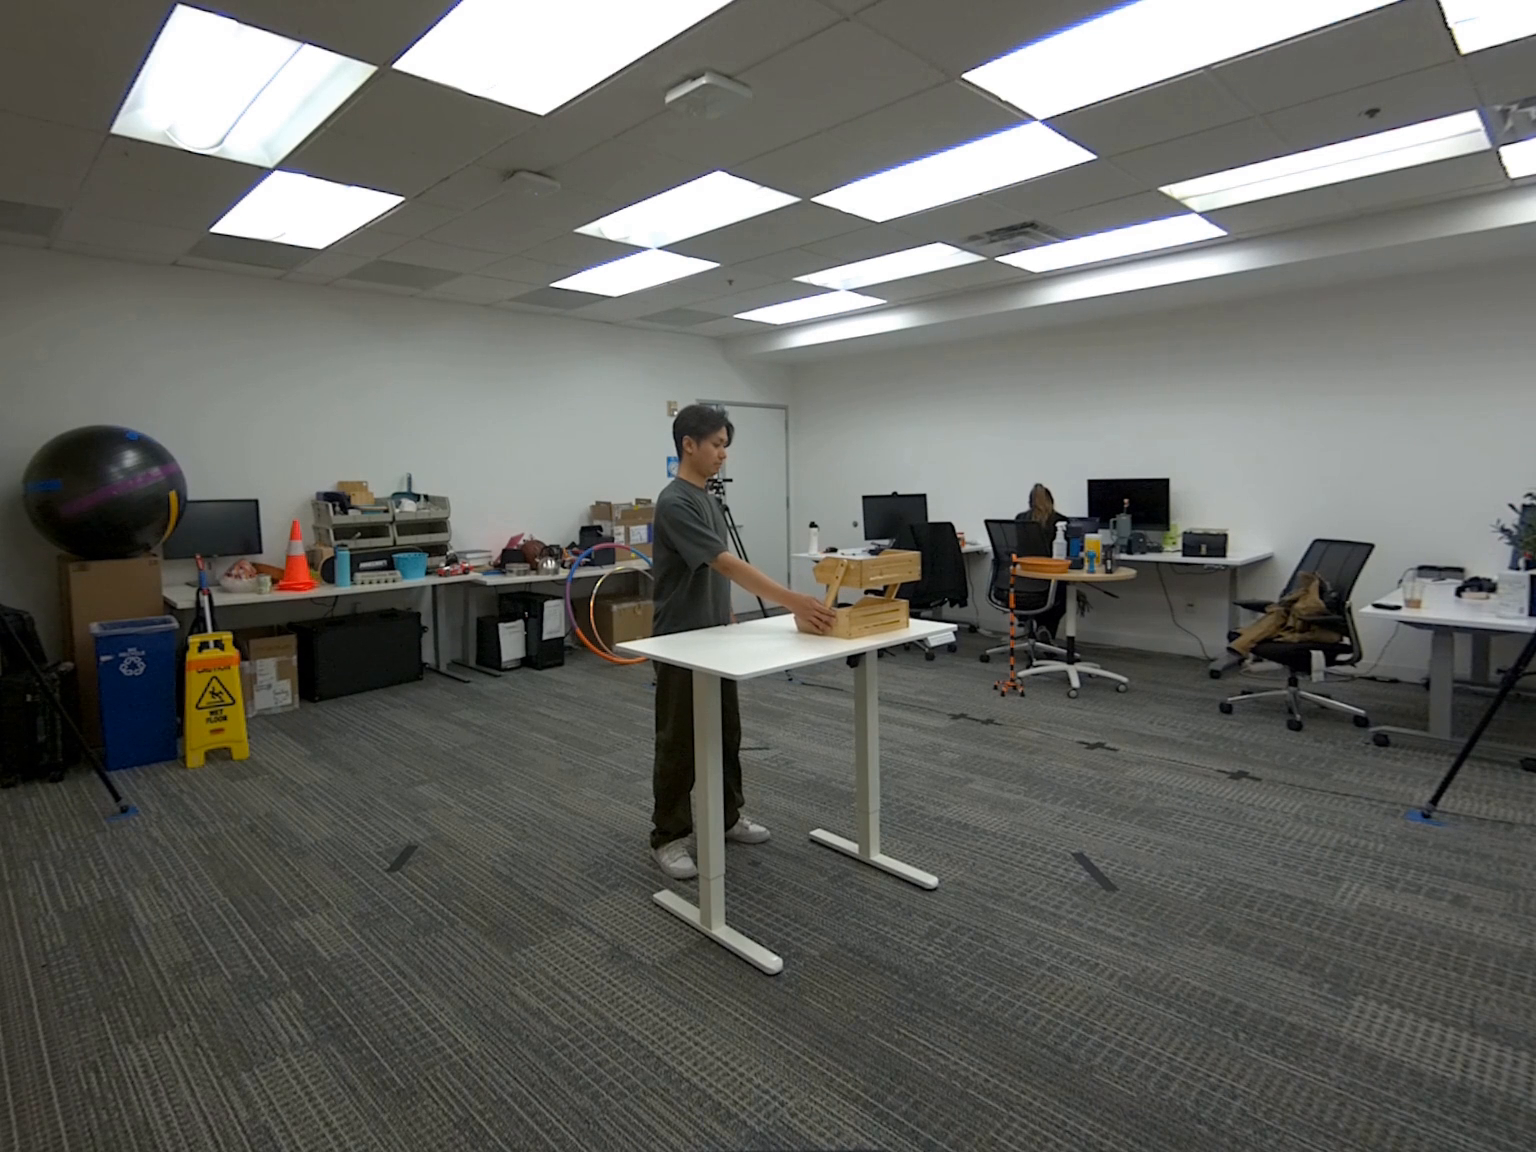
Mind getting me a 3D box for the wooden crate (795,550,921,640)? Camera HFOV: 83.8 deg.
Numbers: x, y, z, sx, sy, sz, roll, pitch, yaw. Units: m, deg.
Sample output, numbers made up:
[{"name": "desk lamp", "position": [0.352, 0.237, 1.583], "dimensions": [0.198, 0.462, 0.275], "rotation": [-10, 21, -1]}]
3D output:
[{"name": "wooden crate", "position": [0.302, 0.048, 2.863], "dimensions": [0.316, 0.272, 0.311], "rotation": [-6, 8, -40]}]
